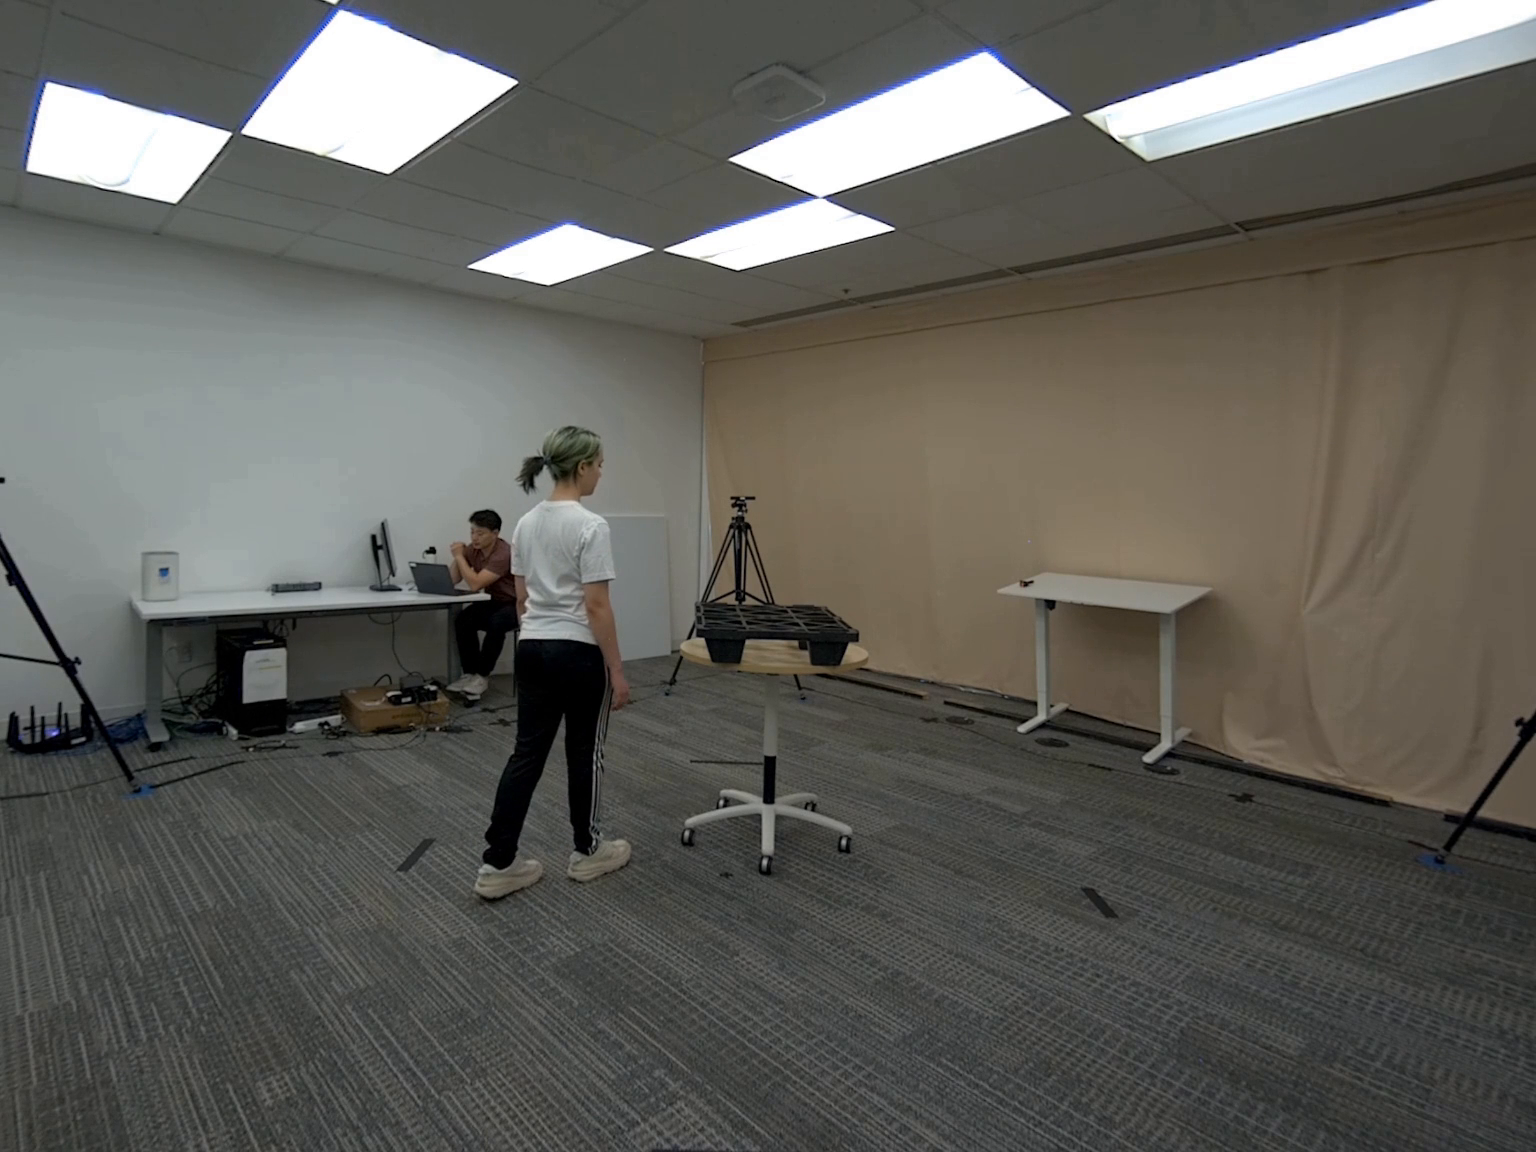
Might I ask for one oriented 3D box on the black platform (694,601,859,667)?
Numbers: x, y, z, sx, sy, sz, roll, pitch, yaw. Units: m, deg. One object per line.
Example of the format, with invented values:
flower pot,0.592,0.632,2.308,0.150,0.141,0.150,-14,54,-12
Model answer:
black platform,-0.009,0.230,3.451,0.603,0.143,0.810,2,5,-4
